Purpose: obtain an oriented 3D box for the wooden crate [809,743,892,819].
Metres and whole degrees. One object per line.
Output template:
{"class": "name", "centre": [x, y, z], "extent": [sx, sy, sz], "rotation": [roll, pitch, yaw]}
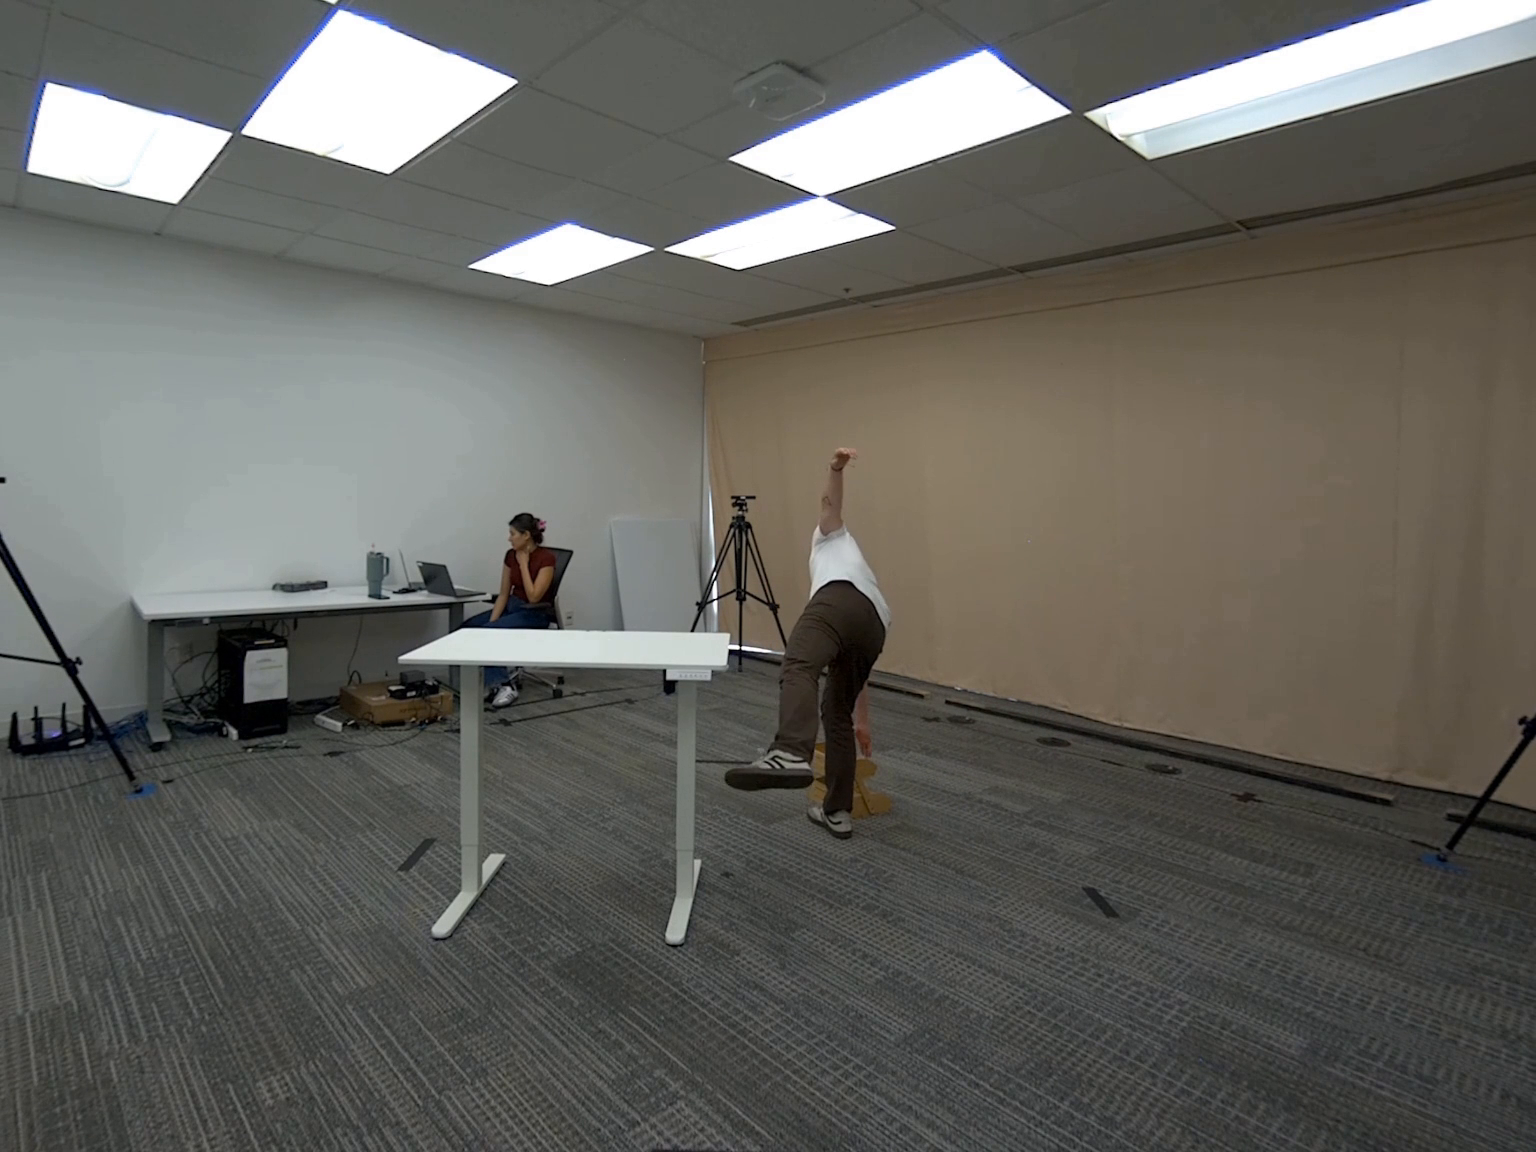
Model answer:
{"class": "wooden crate", "centre": [0.356, 0.917, 3.857], "extent": [0.296, 0.273, 0.332], "rotation": [-1, 4, -30]}
